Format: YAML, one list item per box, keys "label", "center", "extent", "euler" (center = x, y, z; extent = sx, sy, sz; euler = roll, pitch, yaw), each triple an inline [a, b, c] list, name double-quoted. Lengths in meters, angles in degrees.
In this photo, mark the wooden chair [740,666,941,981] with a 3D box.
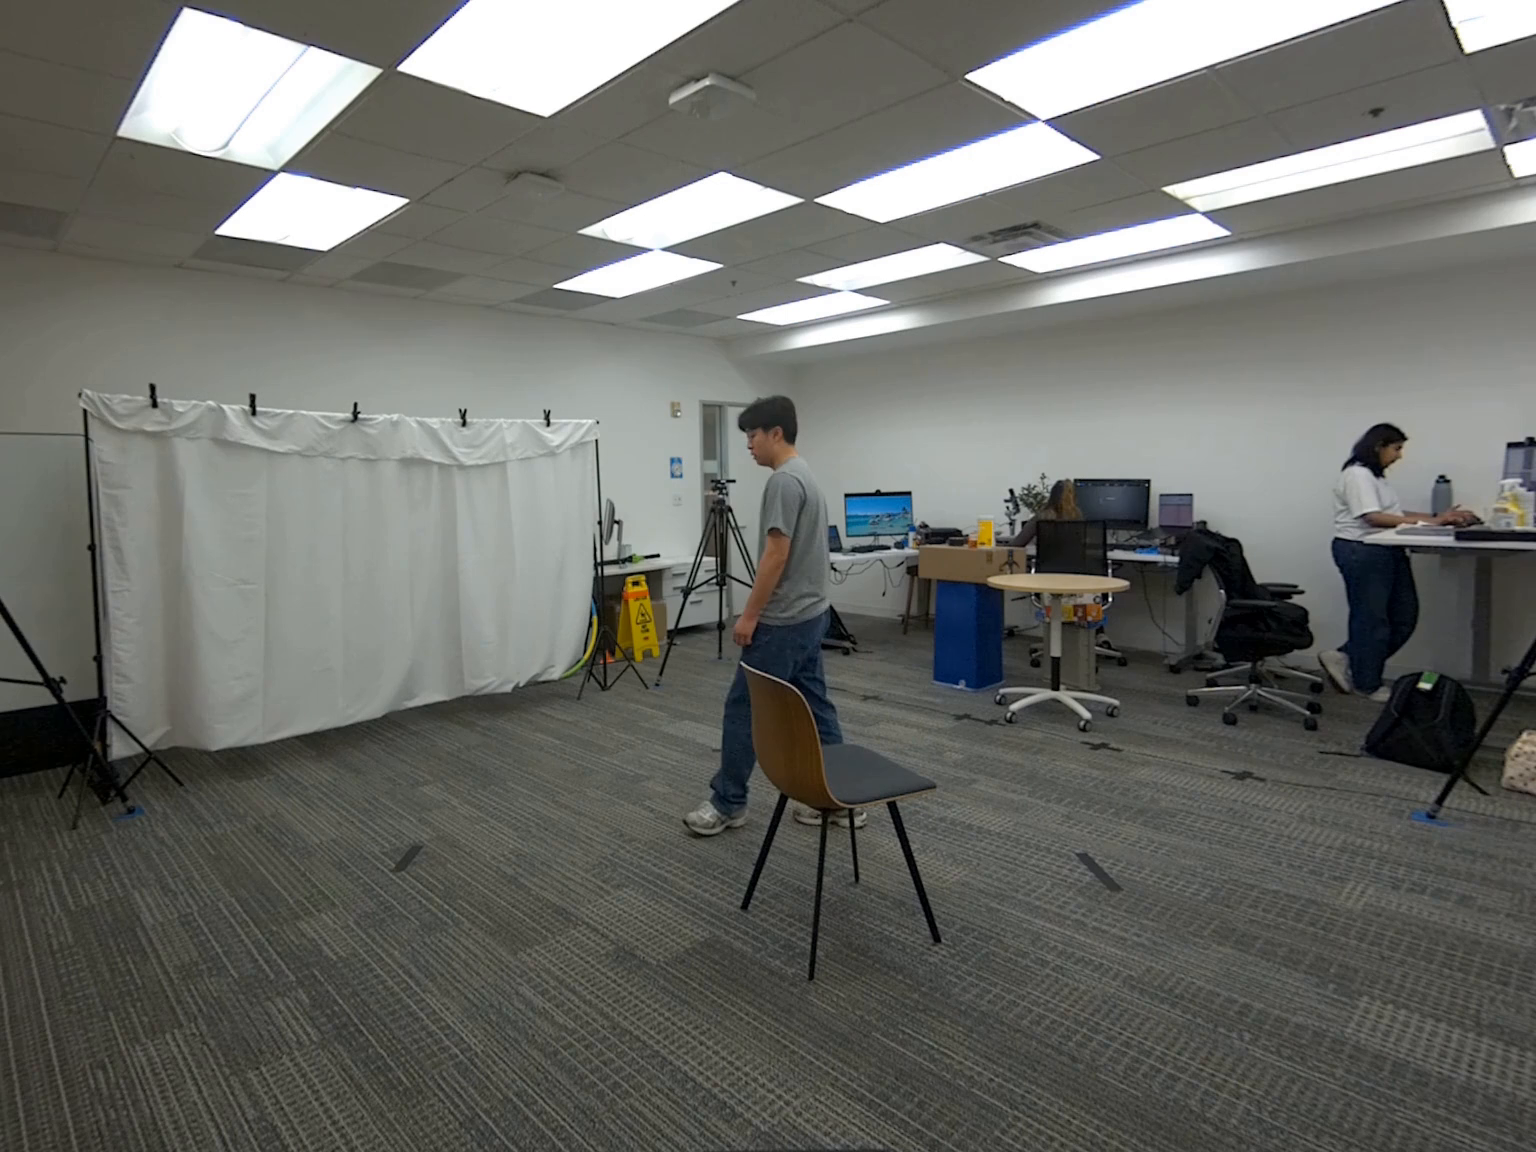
- label: "wooden chair"
  center: [0.216, 0.672, 2.642]
  extent: [0.513, 0.872, 0.490]
  euler: [-8, 7, -25]
